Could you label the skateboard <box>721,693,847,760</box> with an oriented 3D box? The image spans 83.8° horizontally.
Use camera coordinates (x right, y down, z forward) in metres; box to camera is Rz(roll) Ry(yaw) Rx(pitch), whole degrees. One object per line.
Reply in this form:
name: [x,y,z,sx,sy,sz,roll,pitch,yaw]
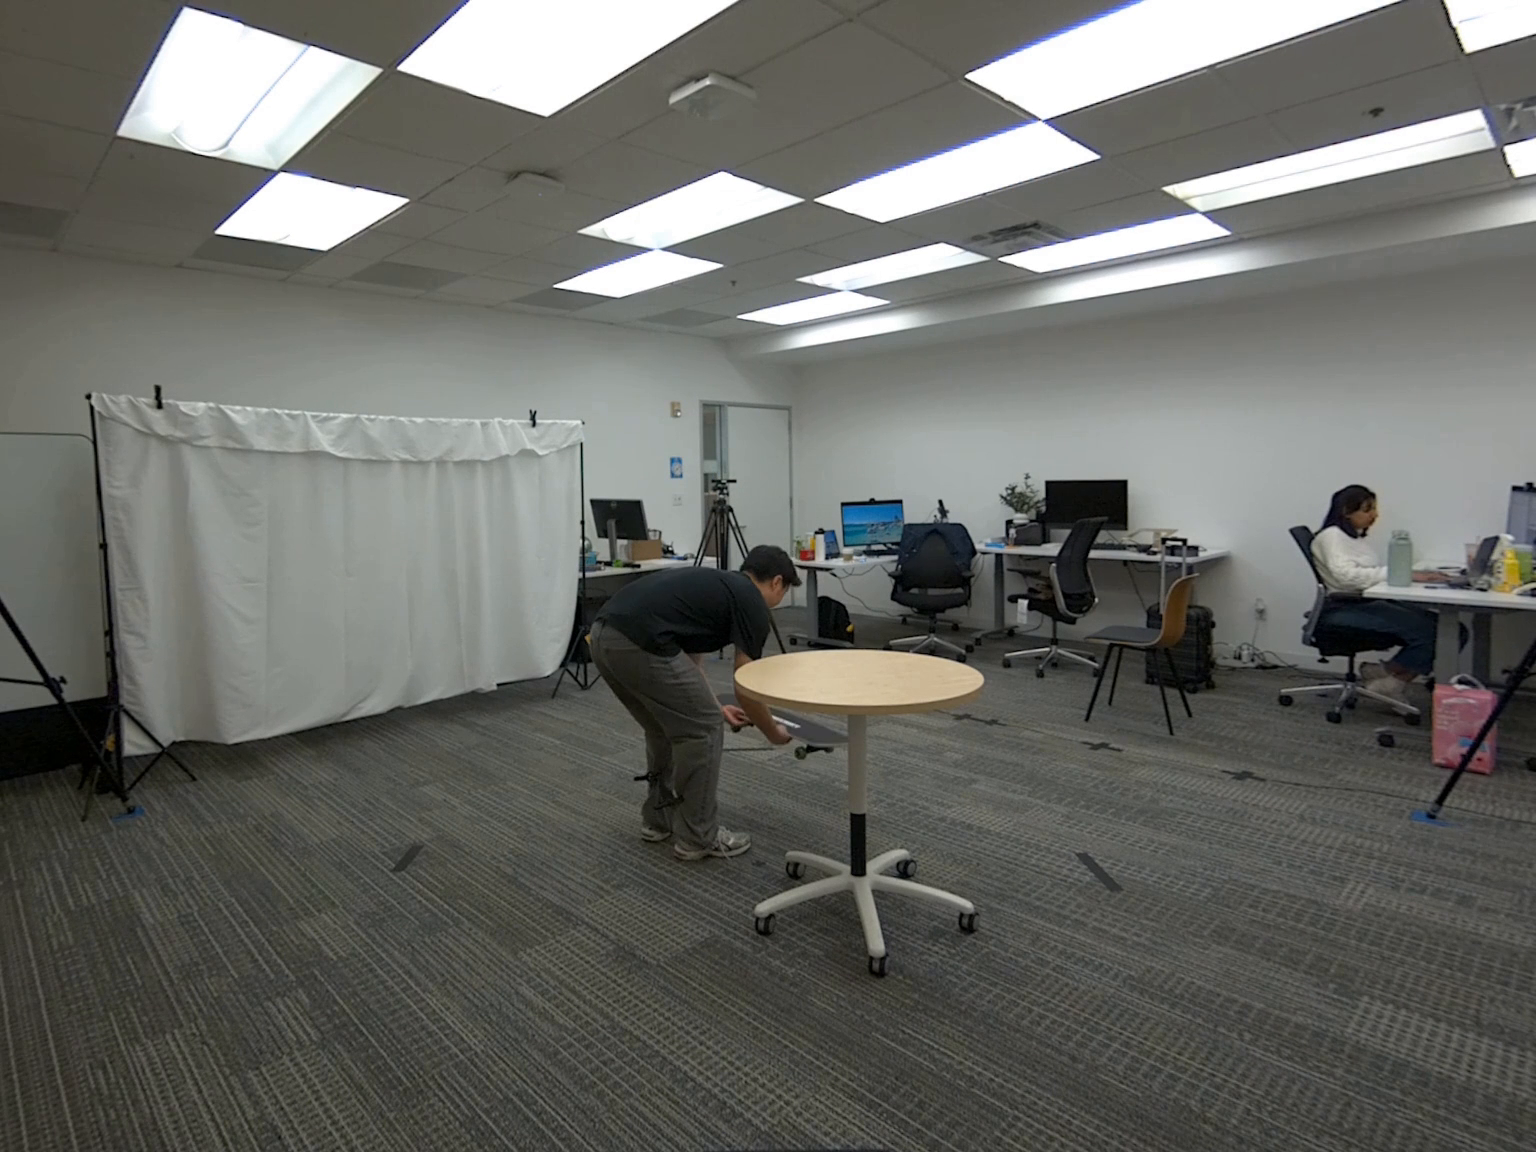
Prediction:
skateboard: [0.056,0.625,3.512,0.188,0.110,0.811,-2,8,-40]
